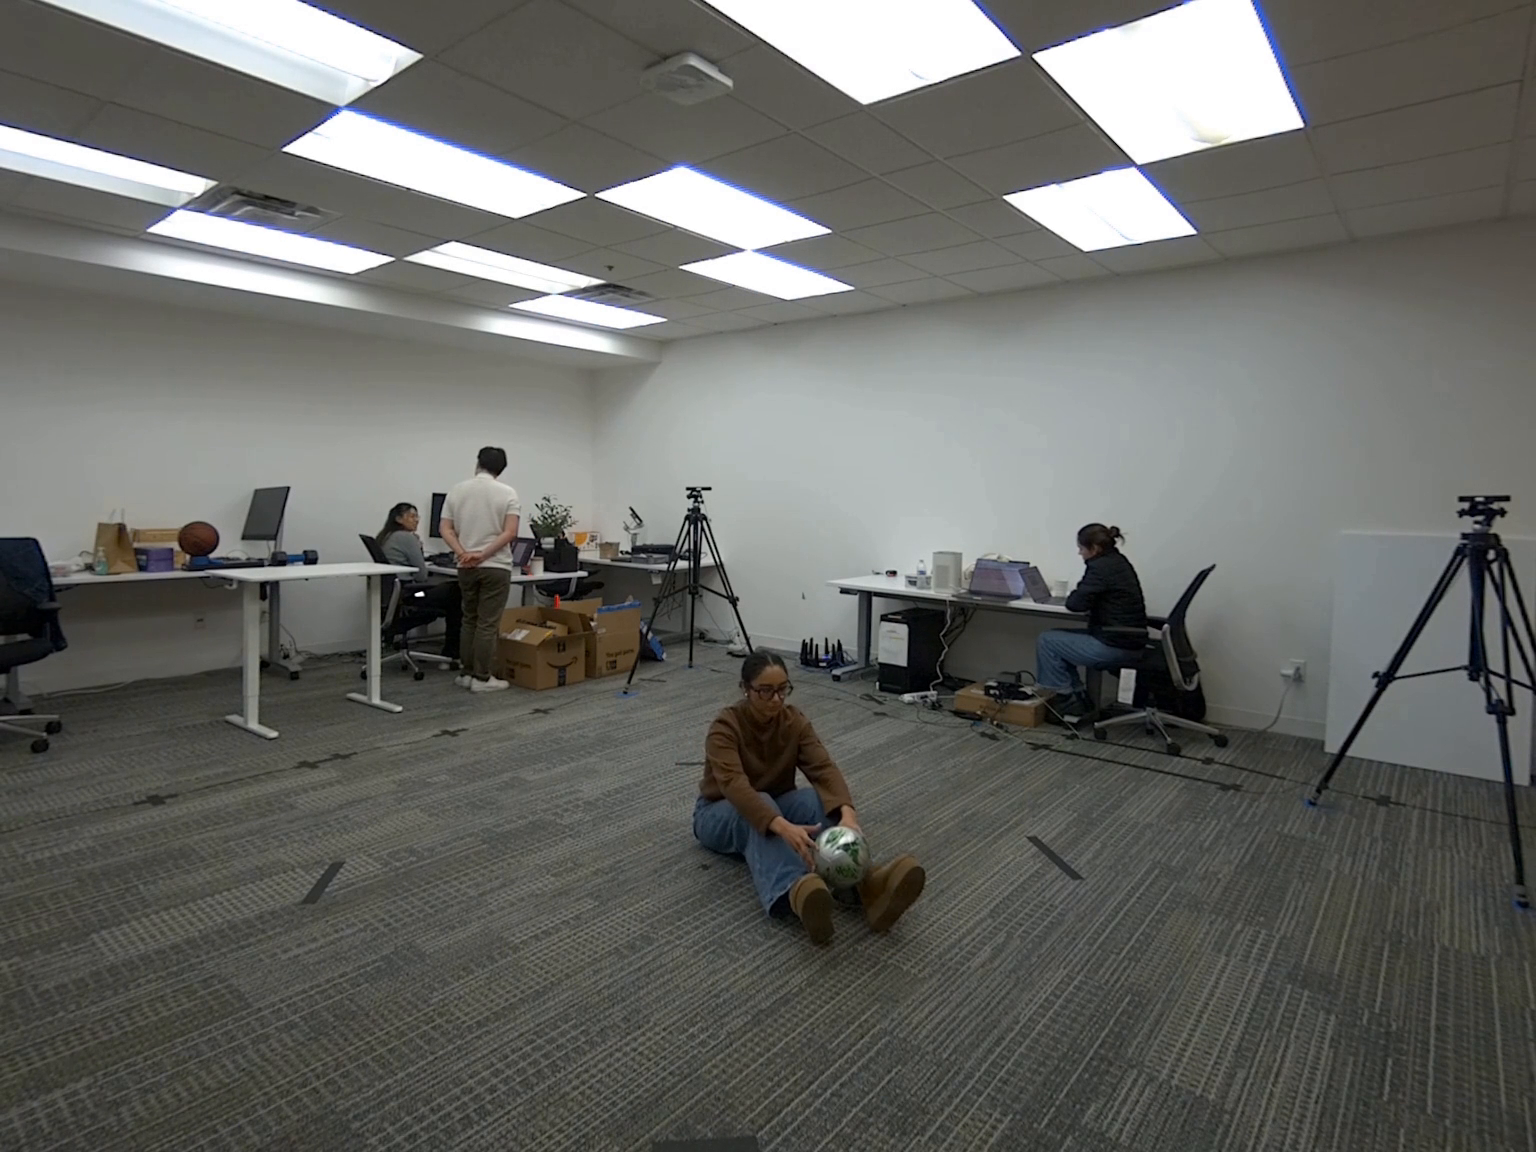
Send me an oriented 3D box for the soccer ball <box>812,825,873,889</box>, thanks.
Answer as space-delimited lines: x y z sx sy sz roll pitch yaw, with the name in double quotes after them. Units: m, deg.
0.222 0.882 2.697 0.187 0.187 0.188 1 4 -2 "soccer ball"
